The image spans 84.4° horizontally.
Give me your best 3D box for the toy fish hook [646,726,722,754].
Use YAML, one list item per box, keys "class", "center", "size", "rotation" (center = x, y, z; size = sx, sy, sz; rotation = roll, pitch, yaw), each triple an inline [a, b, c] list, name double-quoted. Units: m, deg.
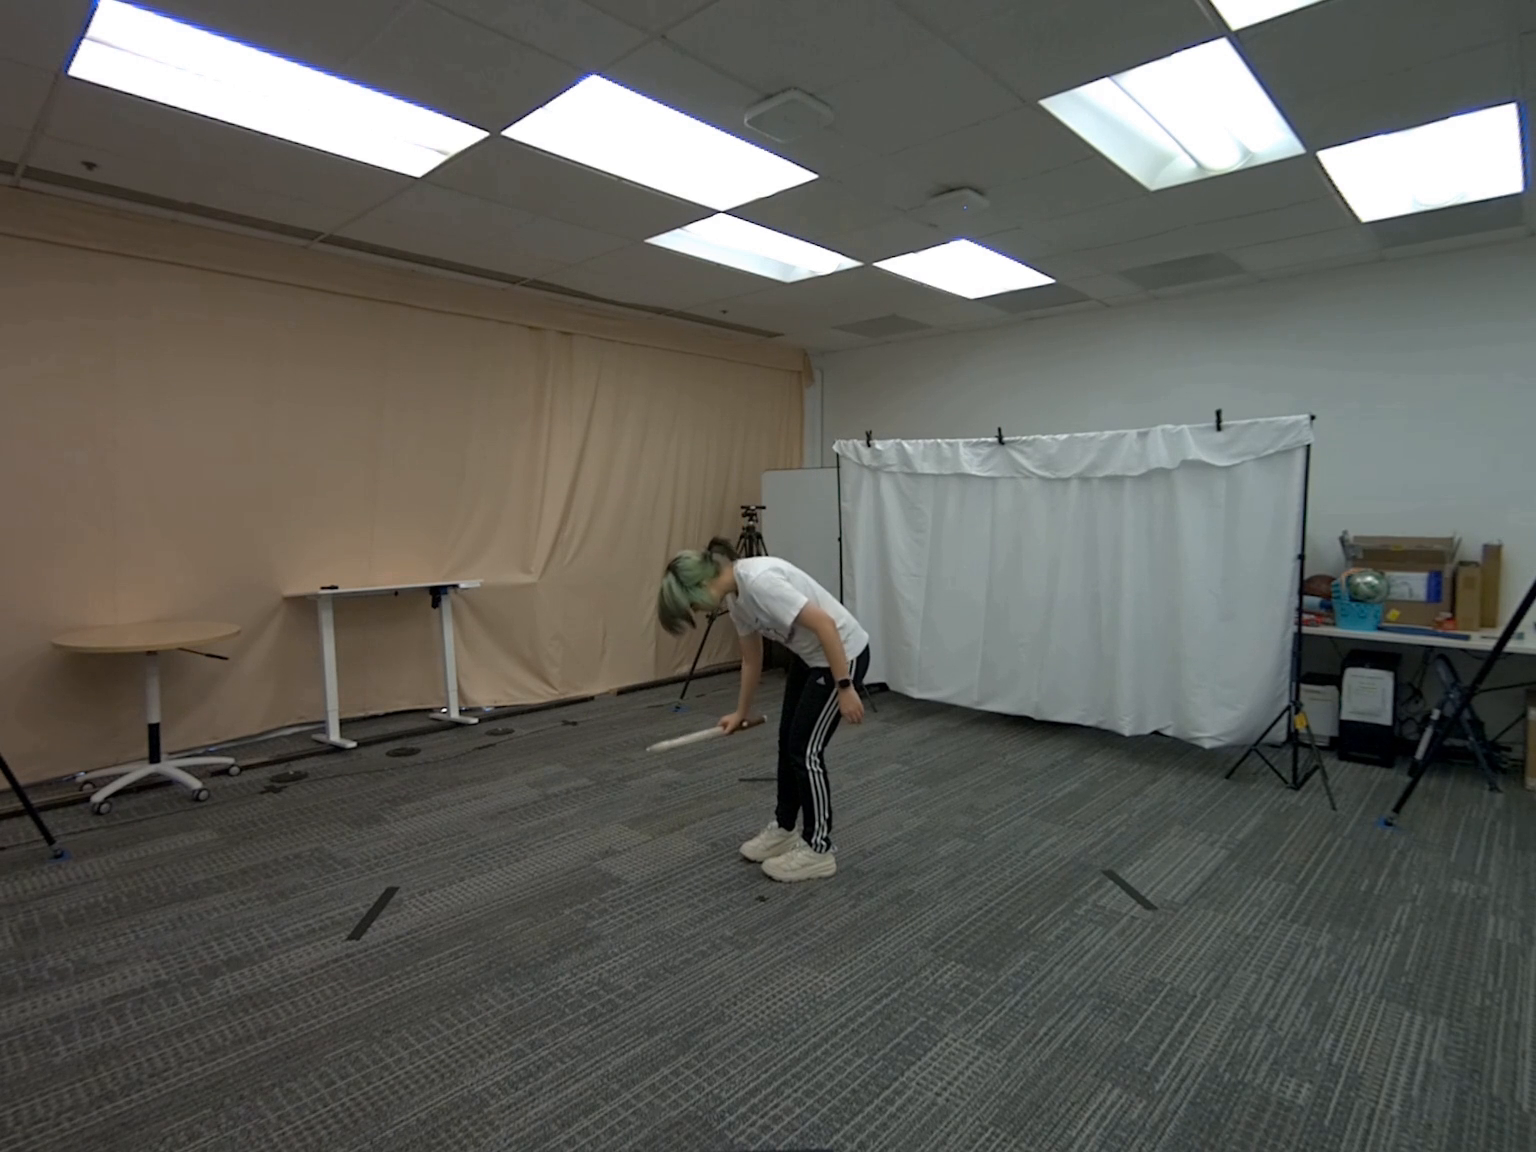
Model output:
- class: "toy fish hook"
  center: [-0.251, 0.663, 3.475]
  size: [0.498, 0.048, 0.227]
  rotation: [-10, -6, -19]
